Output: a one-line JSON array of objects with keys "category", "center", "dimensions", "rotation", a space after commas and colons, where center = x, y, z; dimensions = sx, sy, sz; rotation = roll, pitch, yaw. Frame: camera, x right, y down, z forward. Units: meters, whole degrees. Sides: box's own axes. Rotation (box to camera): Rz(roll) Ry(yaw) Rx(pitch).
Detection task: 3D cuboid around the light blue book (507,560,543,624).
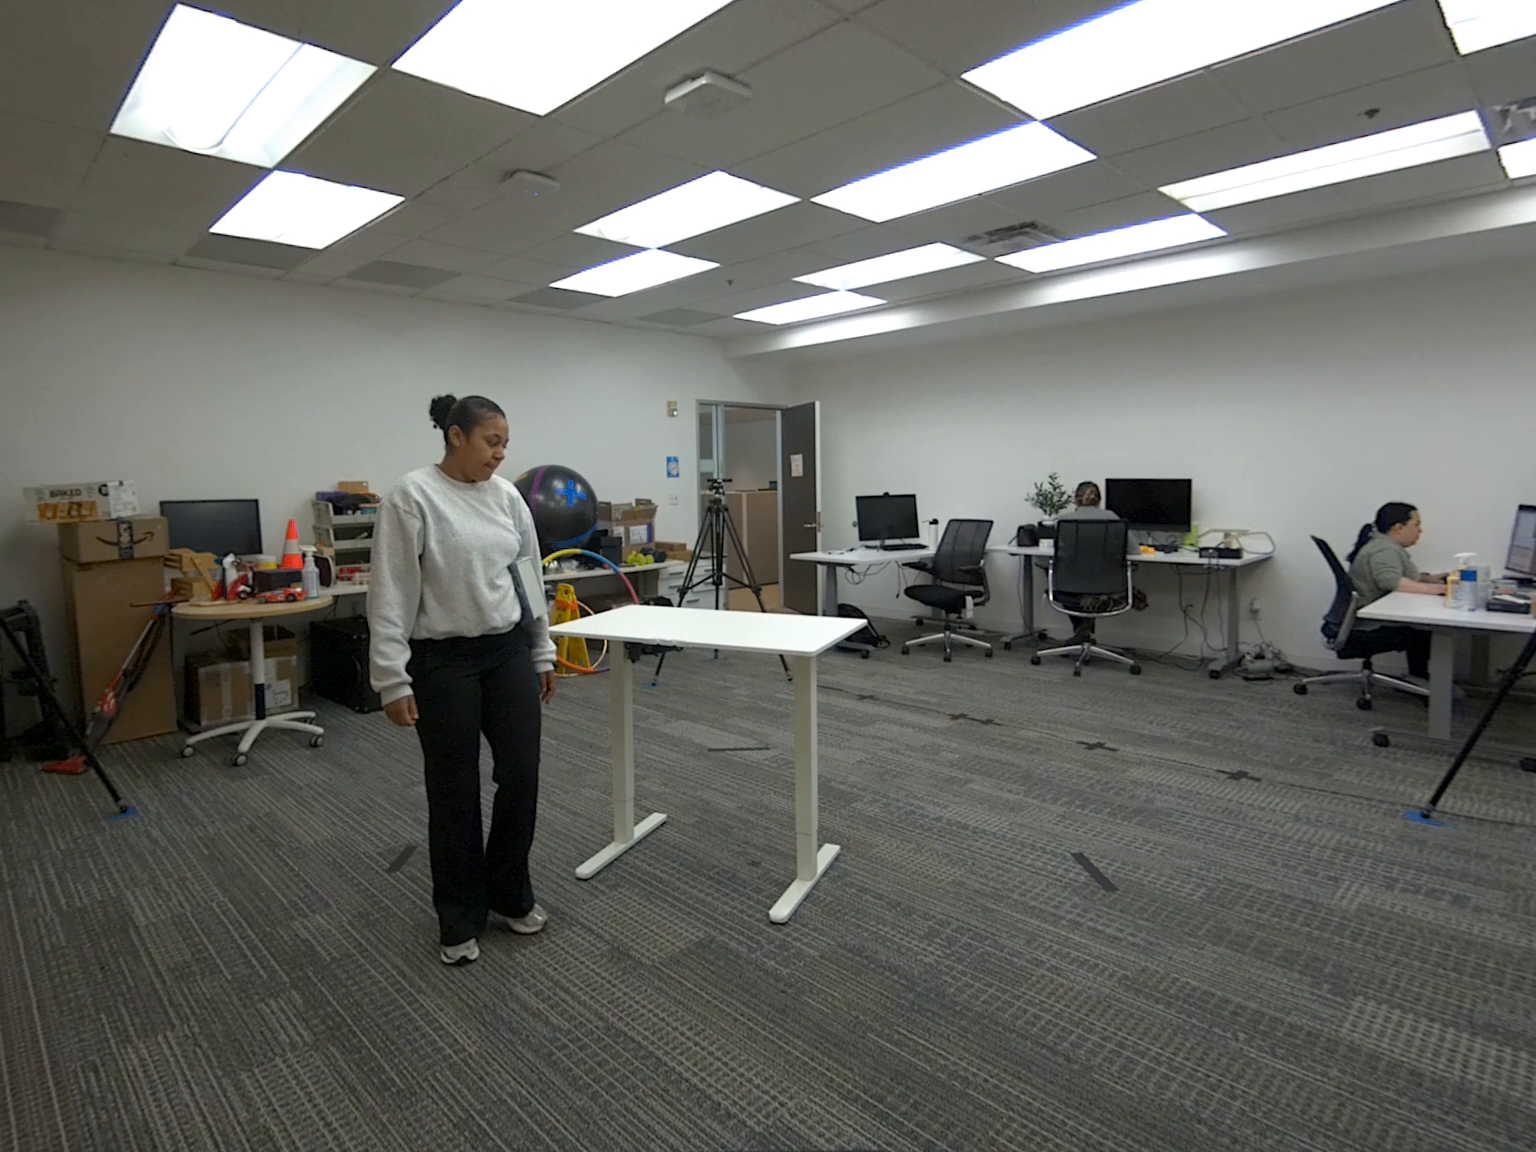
[{"category": "light blue book", "center": [-0.822, 0.035, 2.697], "dimensions": [0.268, 0.188, 0.058], "rotation": [1, 21, 40]}]
